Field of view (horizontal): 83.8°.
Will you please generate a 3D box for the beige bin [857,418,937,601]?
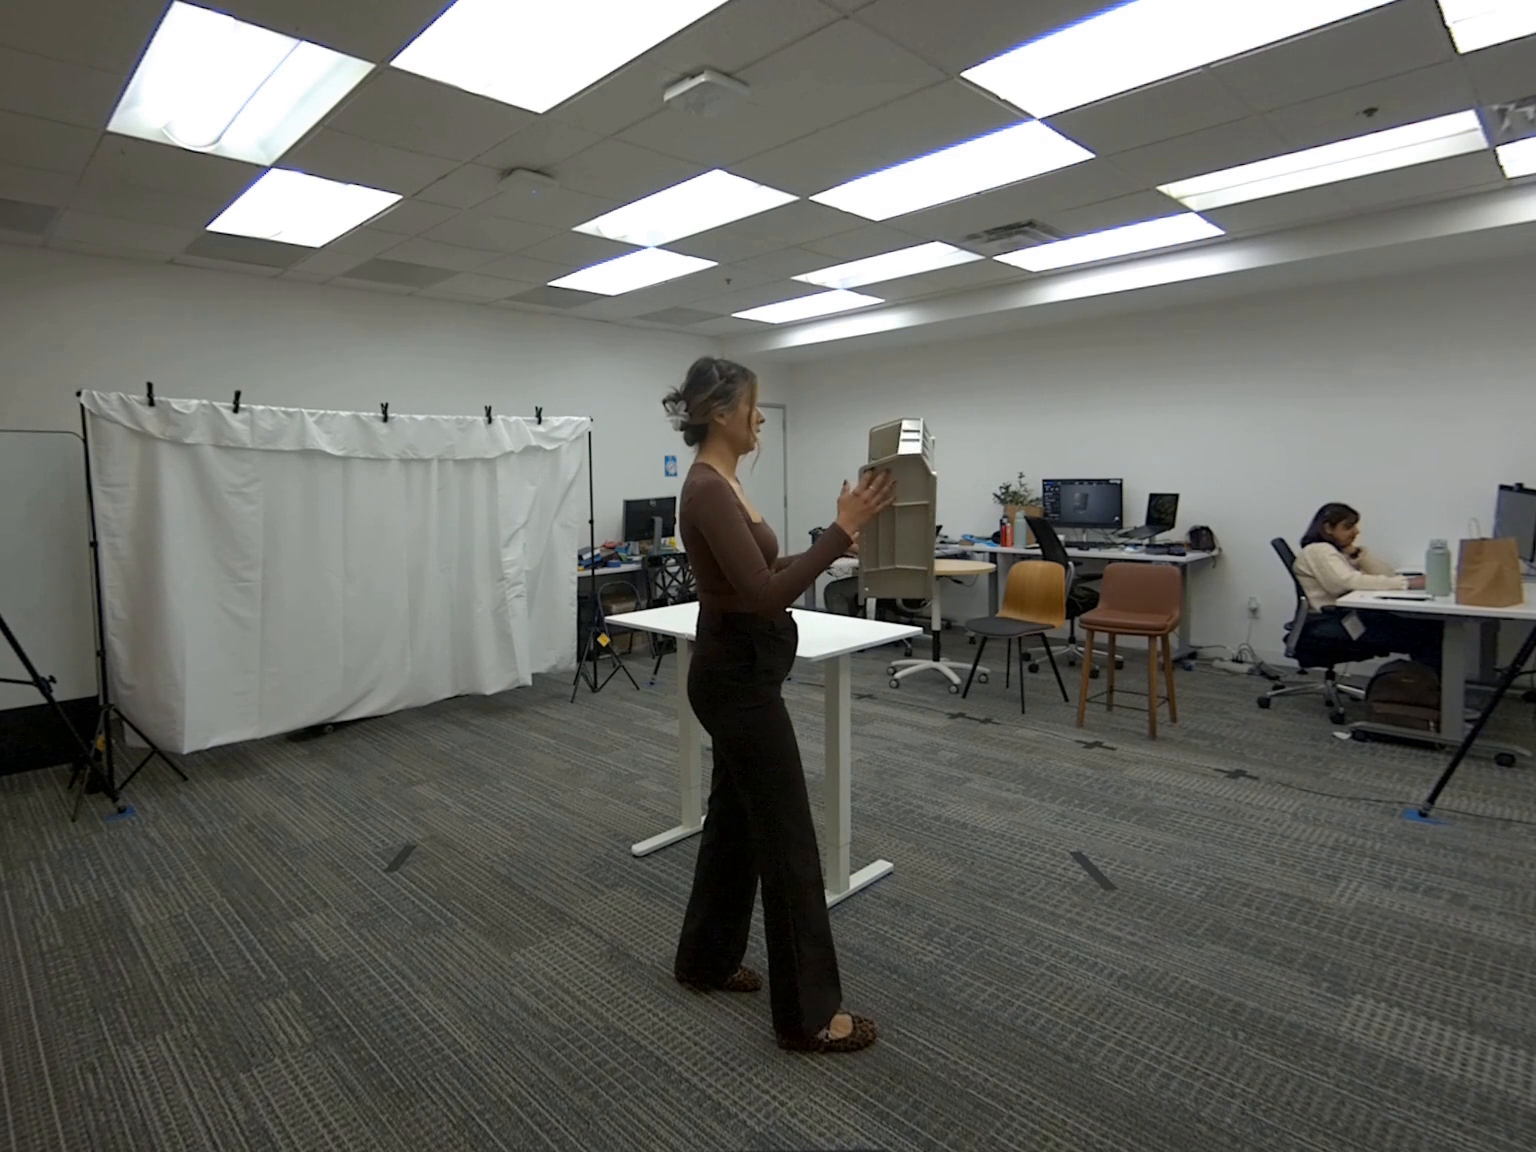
[{"bbox_3d":[0.331,-0.183,2.217,0.191,0.370,0.425,2,21,10],"label":"beige bin"}]
